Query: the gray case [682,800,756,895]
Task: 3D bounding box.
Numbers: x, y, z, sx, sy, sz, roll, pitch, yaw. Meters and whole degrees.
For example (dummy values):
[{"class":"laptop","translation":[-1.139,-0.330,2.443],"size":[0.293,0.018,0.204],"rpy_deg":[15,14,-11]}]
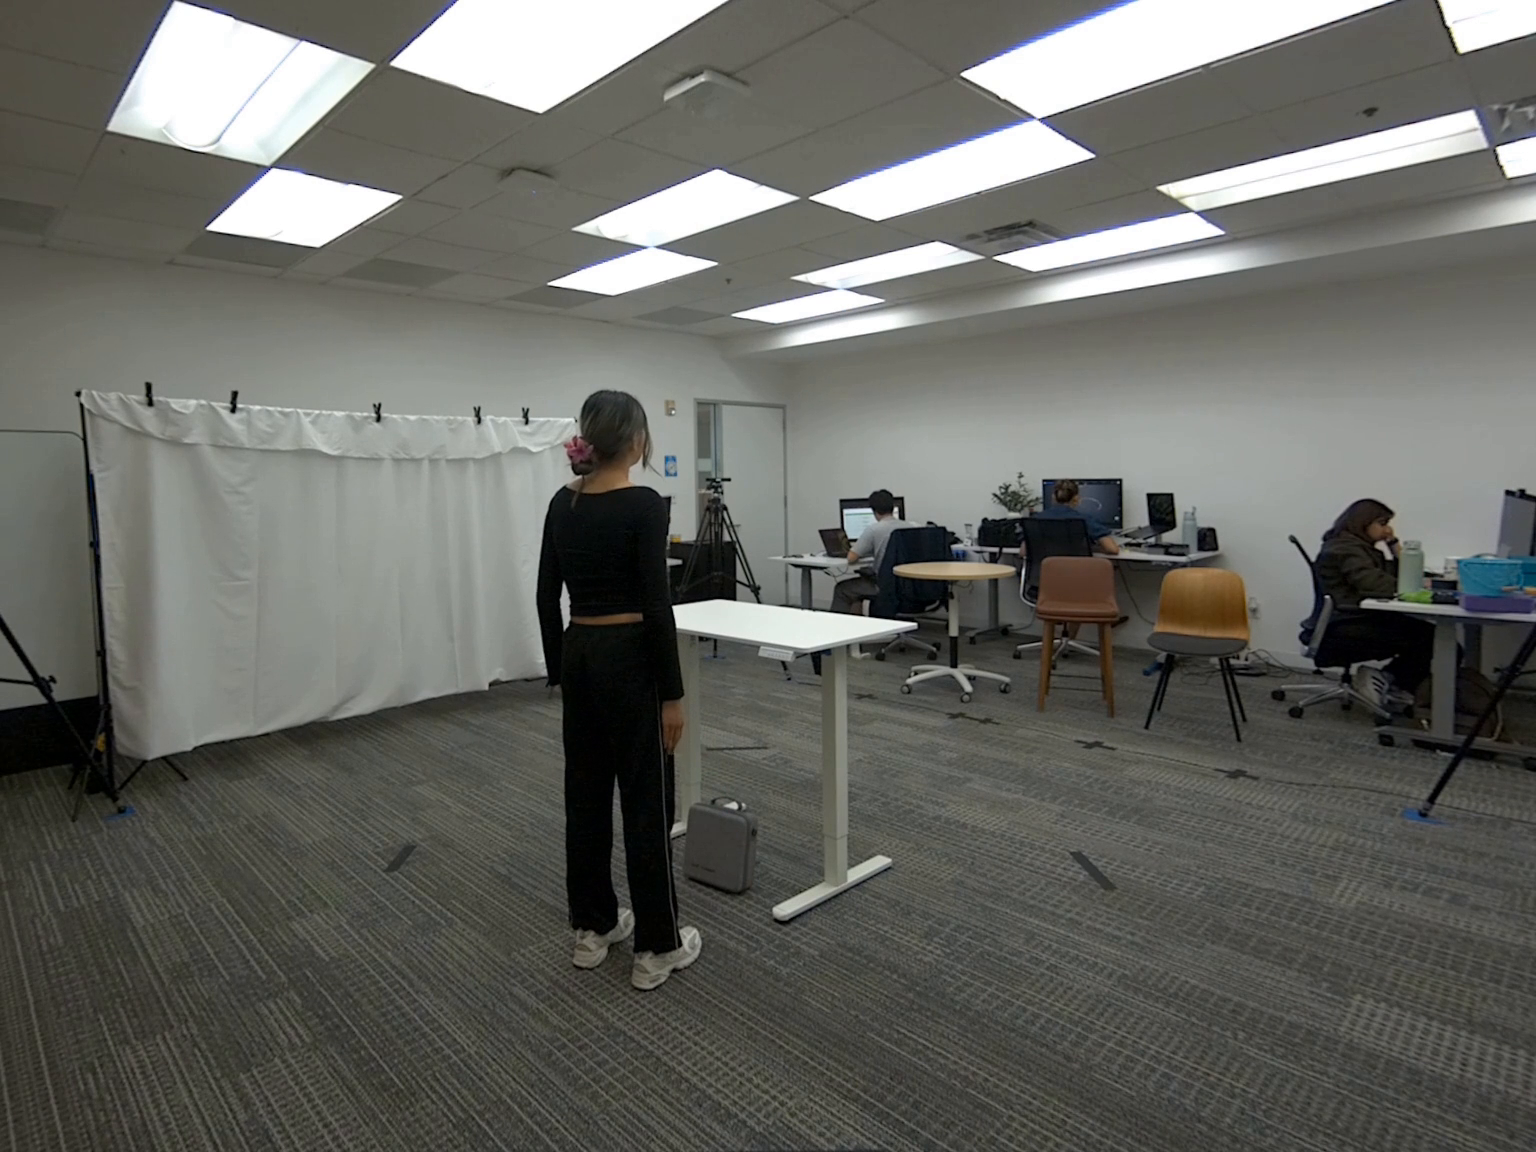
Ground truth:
[{"class":"gray case","translation":[-0.158,0.925,2.963],"size":[0.264,0.262,0.101],"rpy_deg":[3,-6,36]}]
